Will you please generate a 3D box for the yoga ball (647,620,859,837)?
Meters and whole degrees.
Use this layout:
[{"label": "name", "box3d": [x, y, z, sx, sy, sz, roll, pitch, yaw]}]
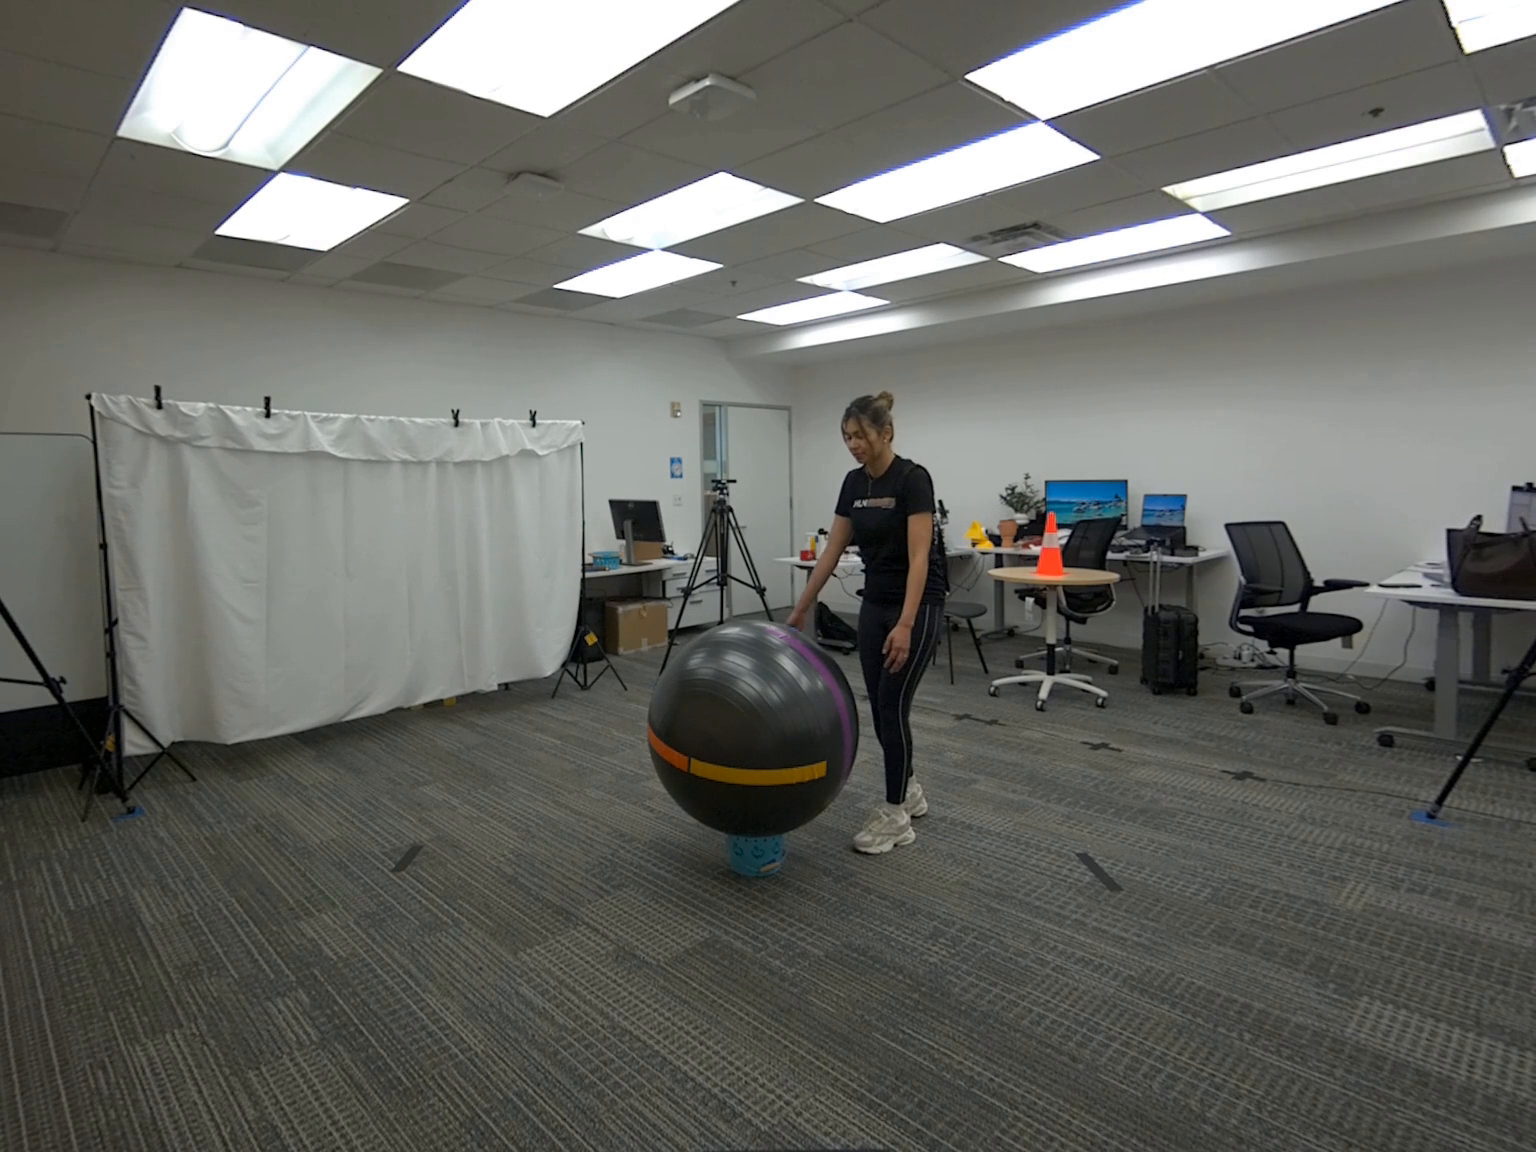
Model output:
[{"label": "yoga ball", "box3d": [-0.055, 0.538, 3.075, 0.757, 0.755, 0.762, -1, 5, -2]}]
